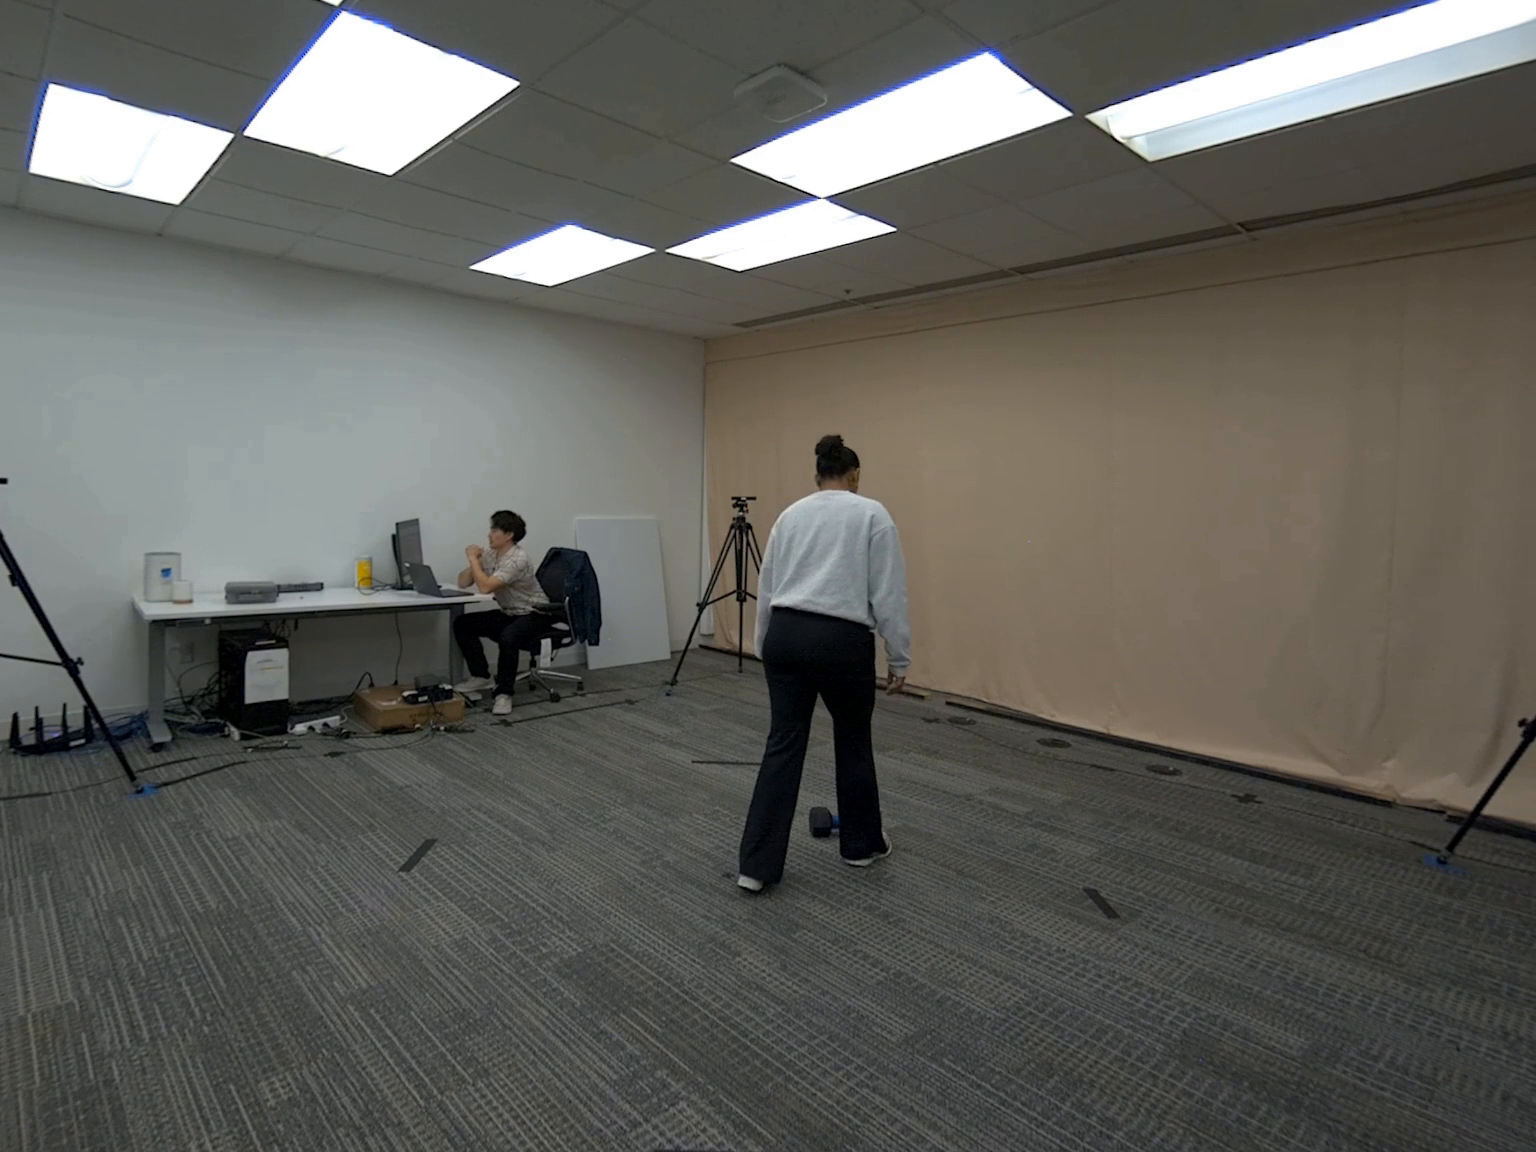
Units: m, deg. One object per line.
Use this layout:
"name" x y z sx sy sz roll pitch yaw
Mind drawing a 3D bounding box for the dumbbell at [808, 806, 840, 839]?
"dumbbell" 0.316 1.029 3.520 0.292 0.125 0.107 0 -26 -6
